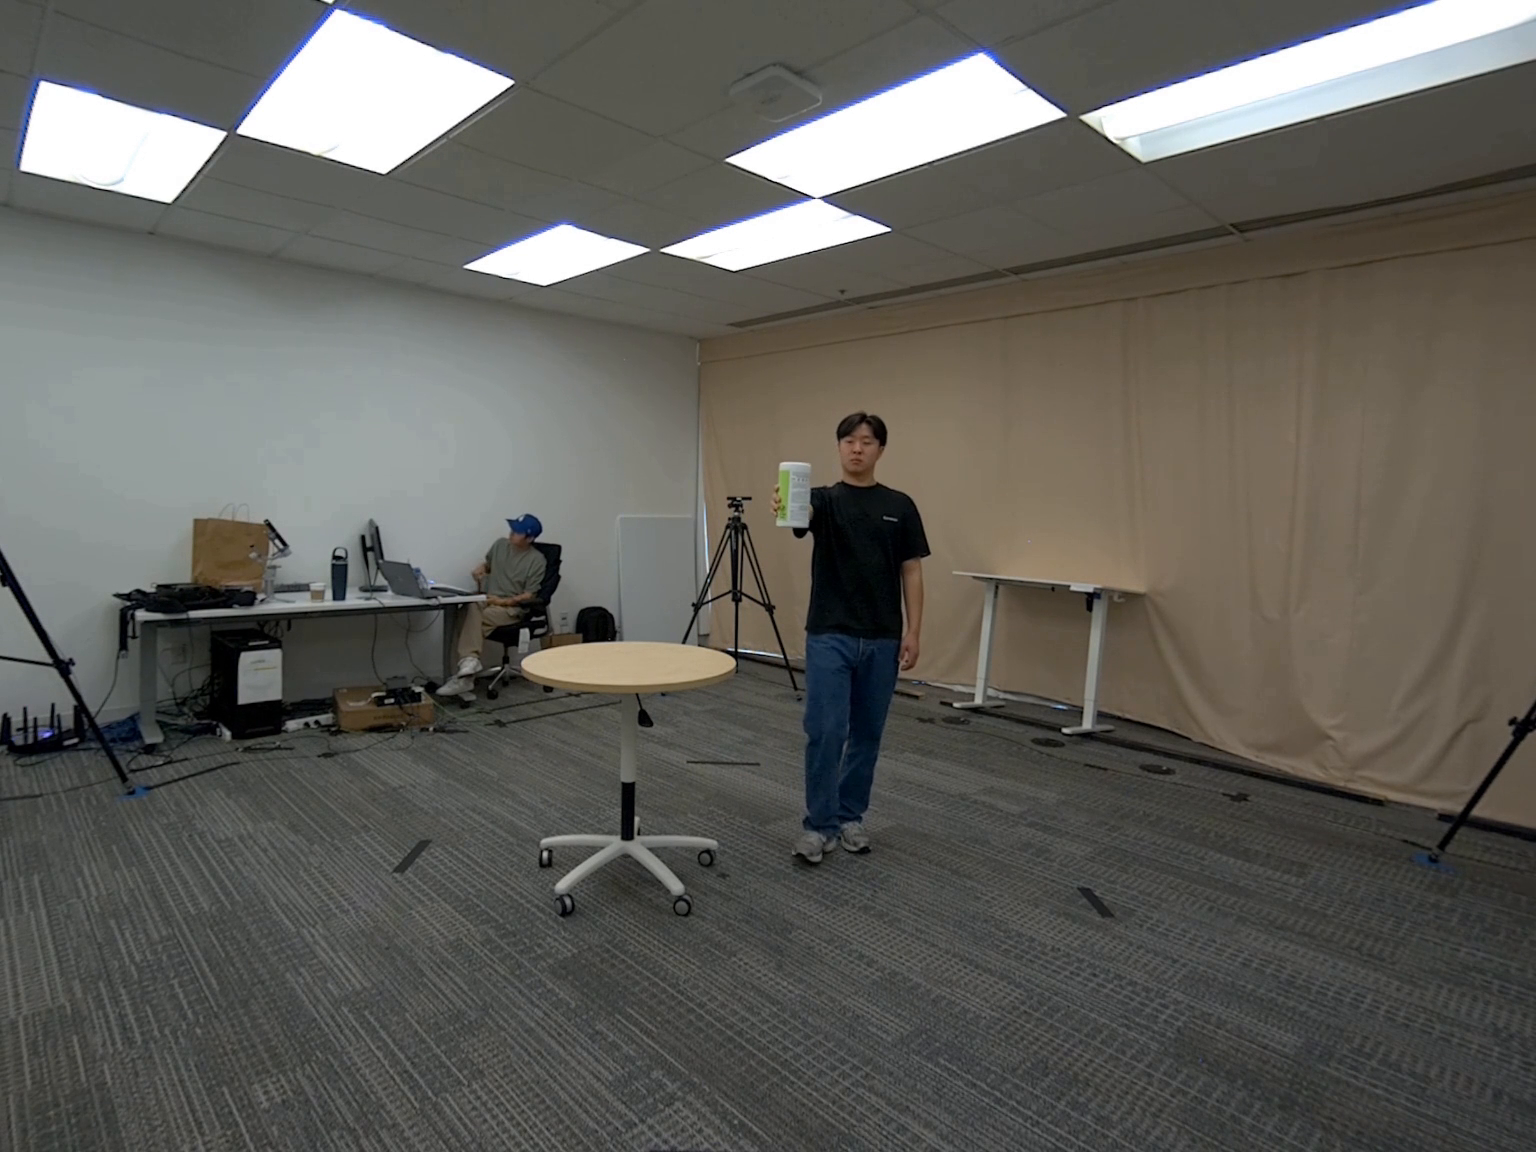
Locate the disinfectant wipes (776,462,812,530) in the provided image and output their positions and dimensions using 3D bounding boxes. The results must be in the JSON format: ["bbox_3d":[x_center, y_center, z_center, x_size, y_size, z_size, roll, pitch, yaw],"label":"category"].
[{"bbox_3d":[0.084,-0.265,2.803,0.118,0.217,0.118,2,1,-1],"label":"disinfectant wipes"}]
